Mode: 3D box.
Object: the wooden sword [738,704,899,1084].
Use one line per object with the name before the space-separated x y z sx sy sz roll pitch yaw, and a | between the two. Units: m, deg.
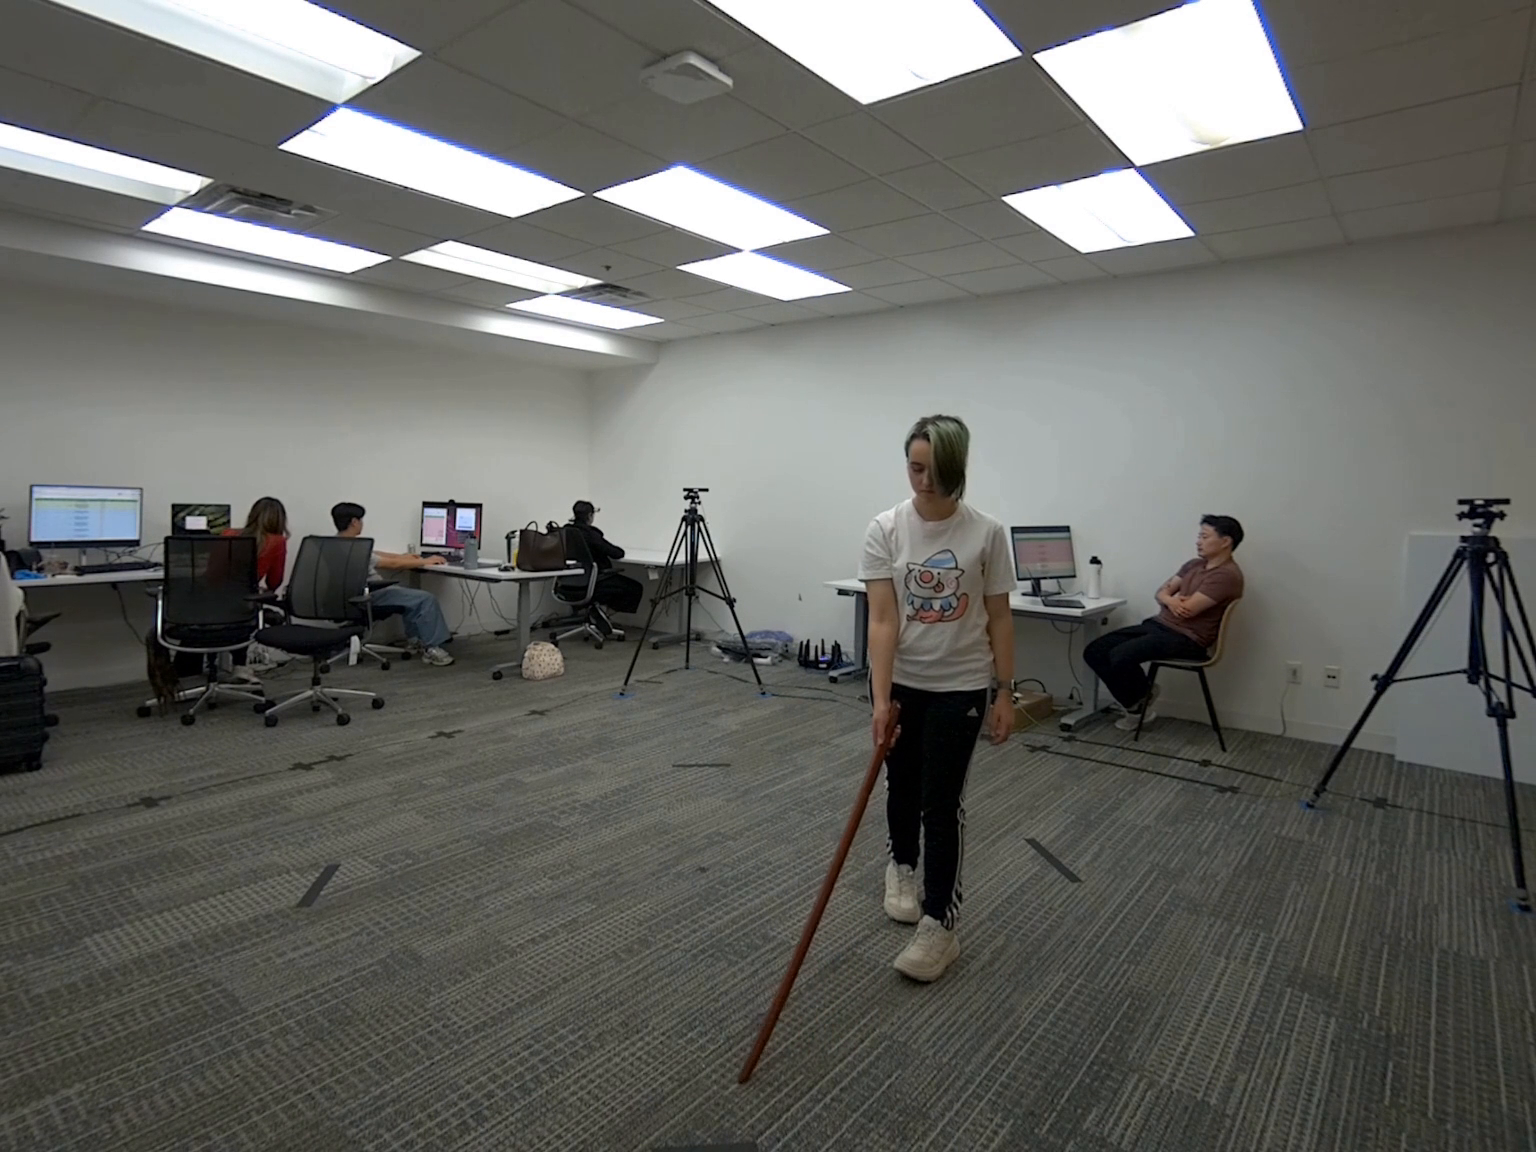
wooden sword | 0.169 0.795 2.220 0.051 1.030 0.024 33 -26 -4
